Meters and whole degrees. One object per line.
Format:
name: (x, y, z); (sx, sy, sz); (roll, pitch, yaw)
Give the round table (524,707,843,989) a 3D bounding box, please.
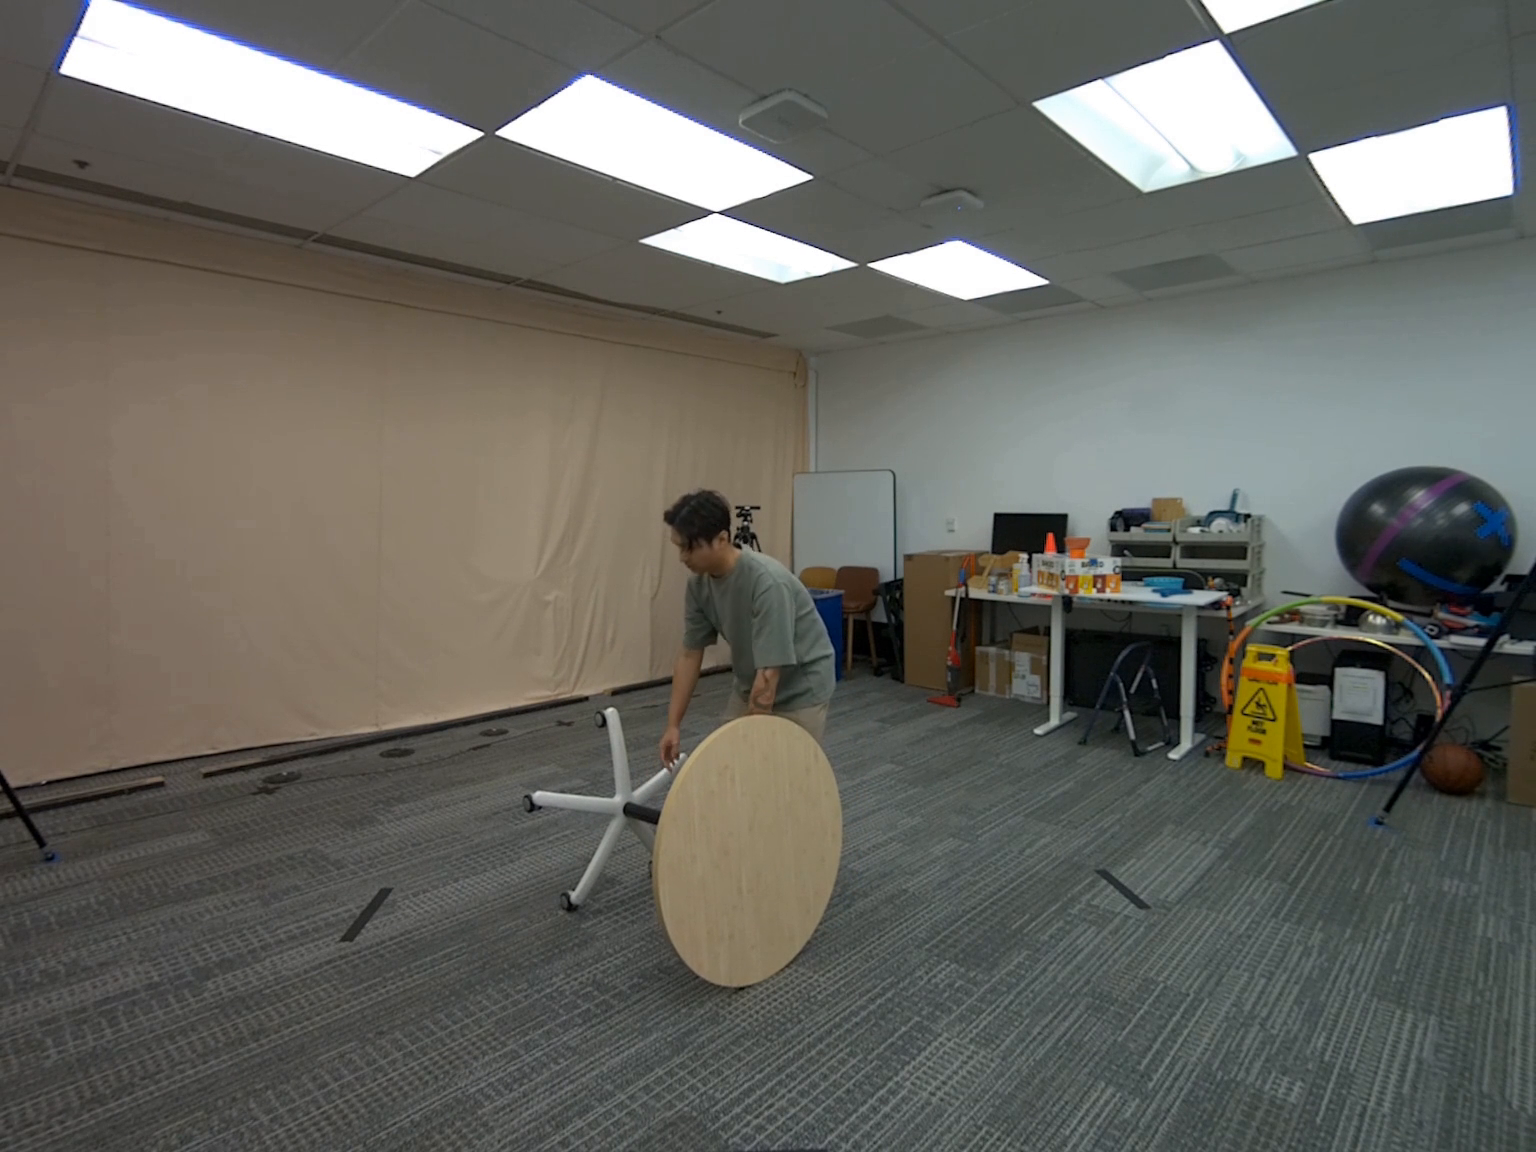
round table: (-0.314, 0.819, 2.779); (0.761, 0.786, 0.810); (-4, -1, -44)
